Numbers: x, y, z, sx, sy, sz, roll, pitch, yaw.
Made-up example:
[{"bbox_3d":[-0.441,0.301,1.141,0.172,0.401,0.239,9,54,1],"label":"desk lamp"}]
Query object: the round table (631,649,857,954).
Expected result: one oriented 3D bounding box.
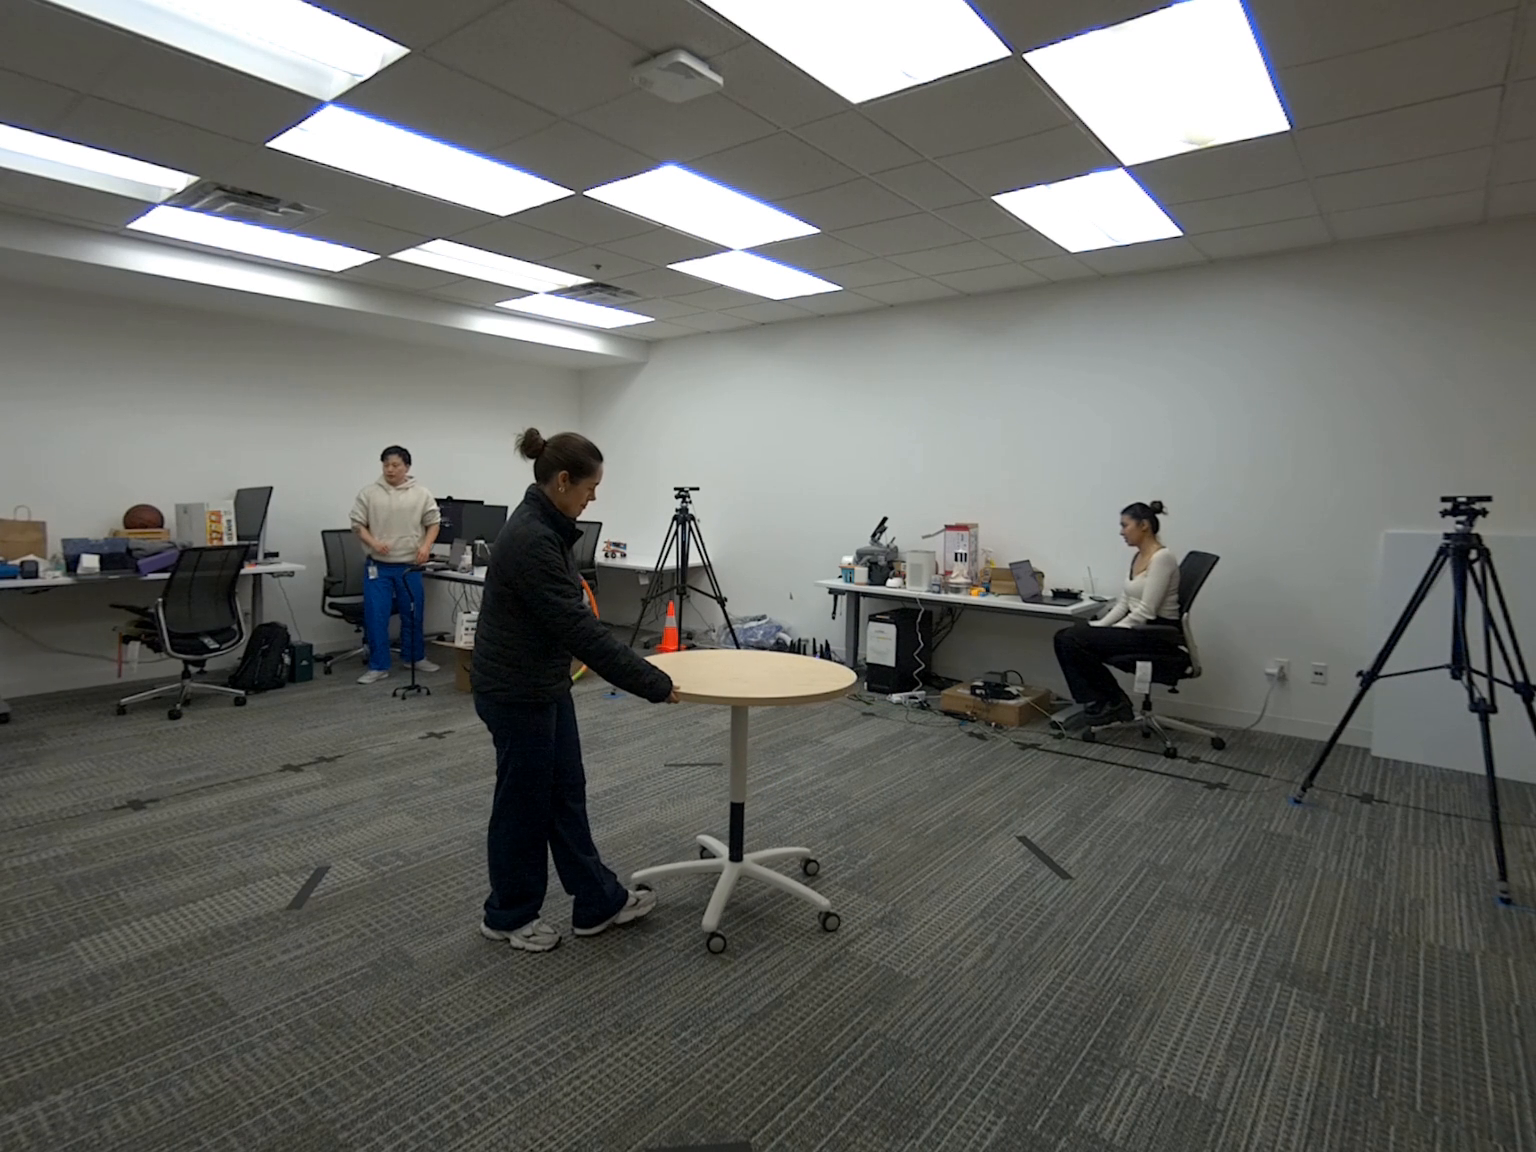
[{"bbox_3d":[-0.096,0.698,2.868,0.784,0.784,0.789,1,4,-2],"label":"round table"}]
